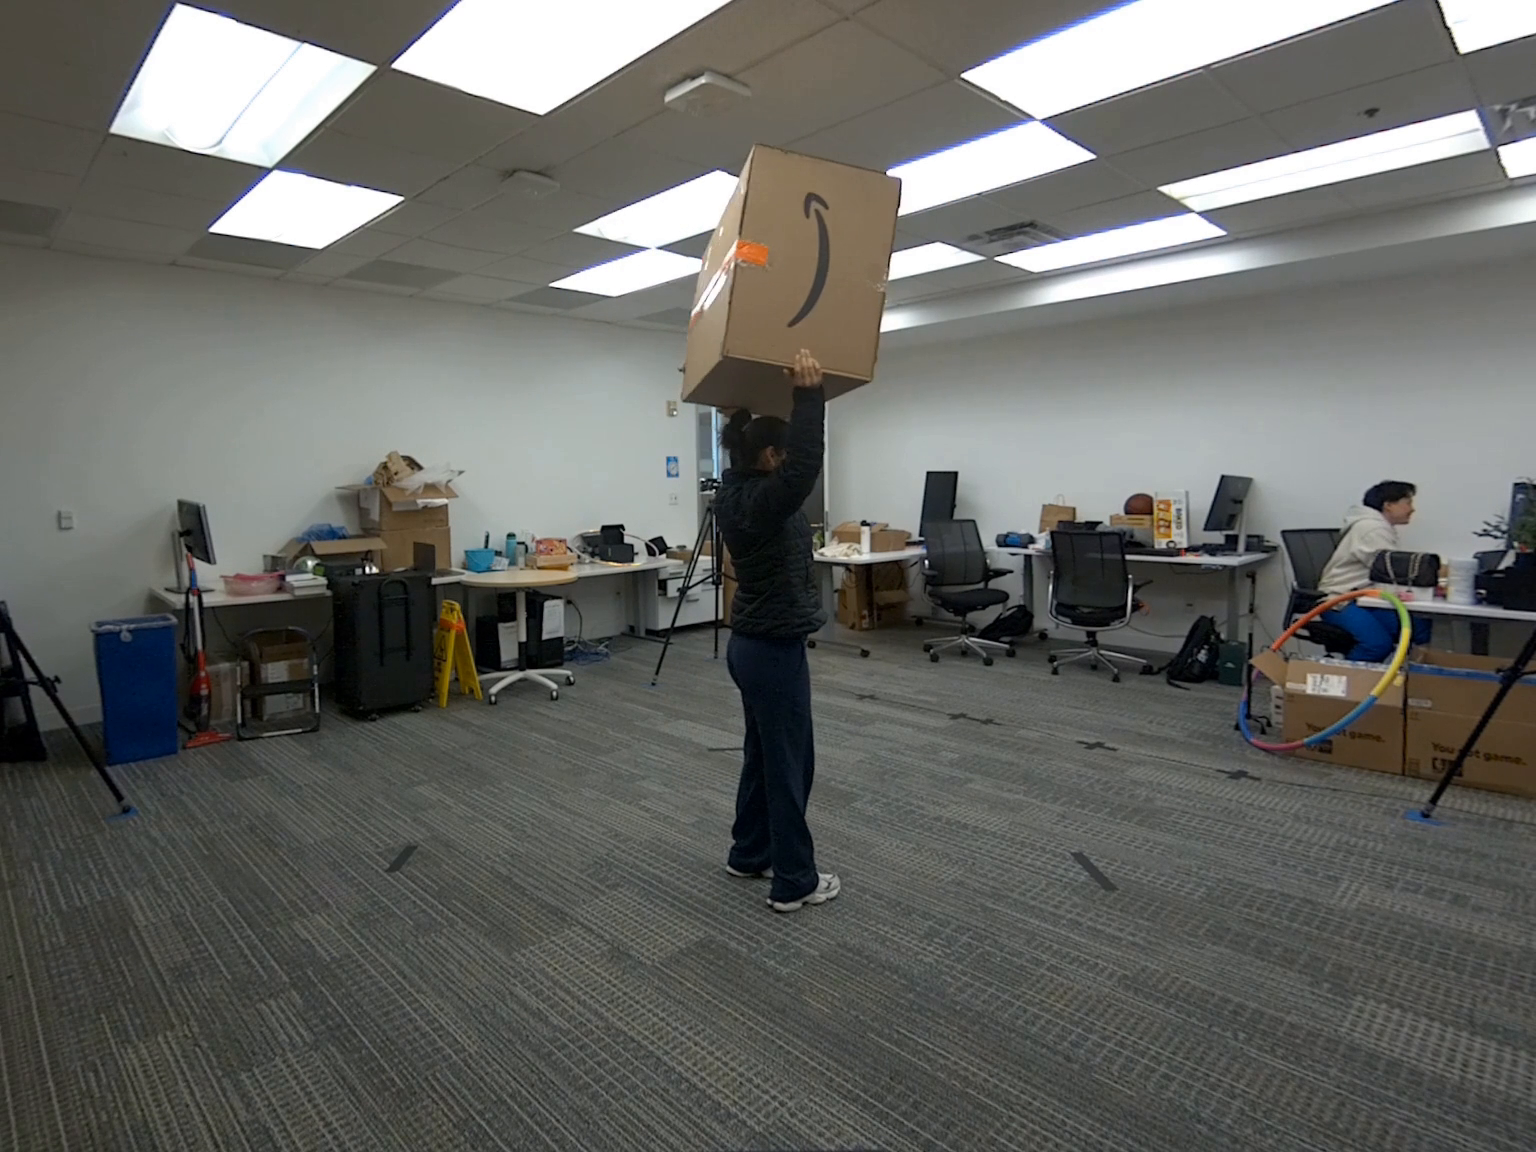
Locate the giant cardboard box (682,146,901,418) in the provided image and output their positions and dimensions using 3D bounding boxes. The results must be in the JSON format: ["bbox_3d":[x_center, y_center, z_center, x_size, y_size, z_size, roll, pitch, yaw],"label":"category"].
[{"bbox_3d":[0.016,-0.877,2.817,0.441,0.584,1.040,8,1,-12],"label":"giant cardboard box"}]
